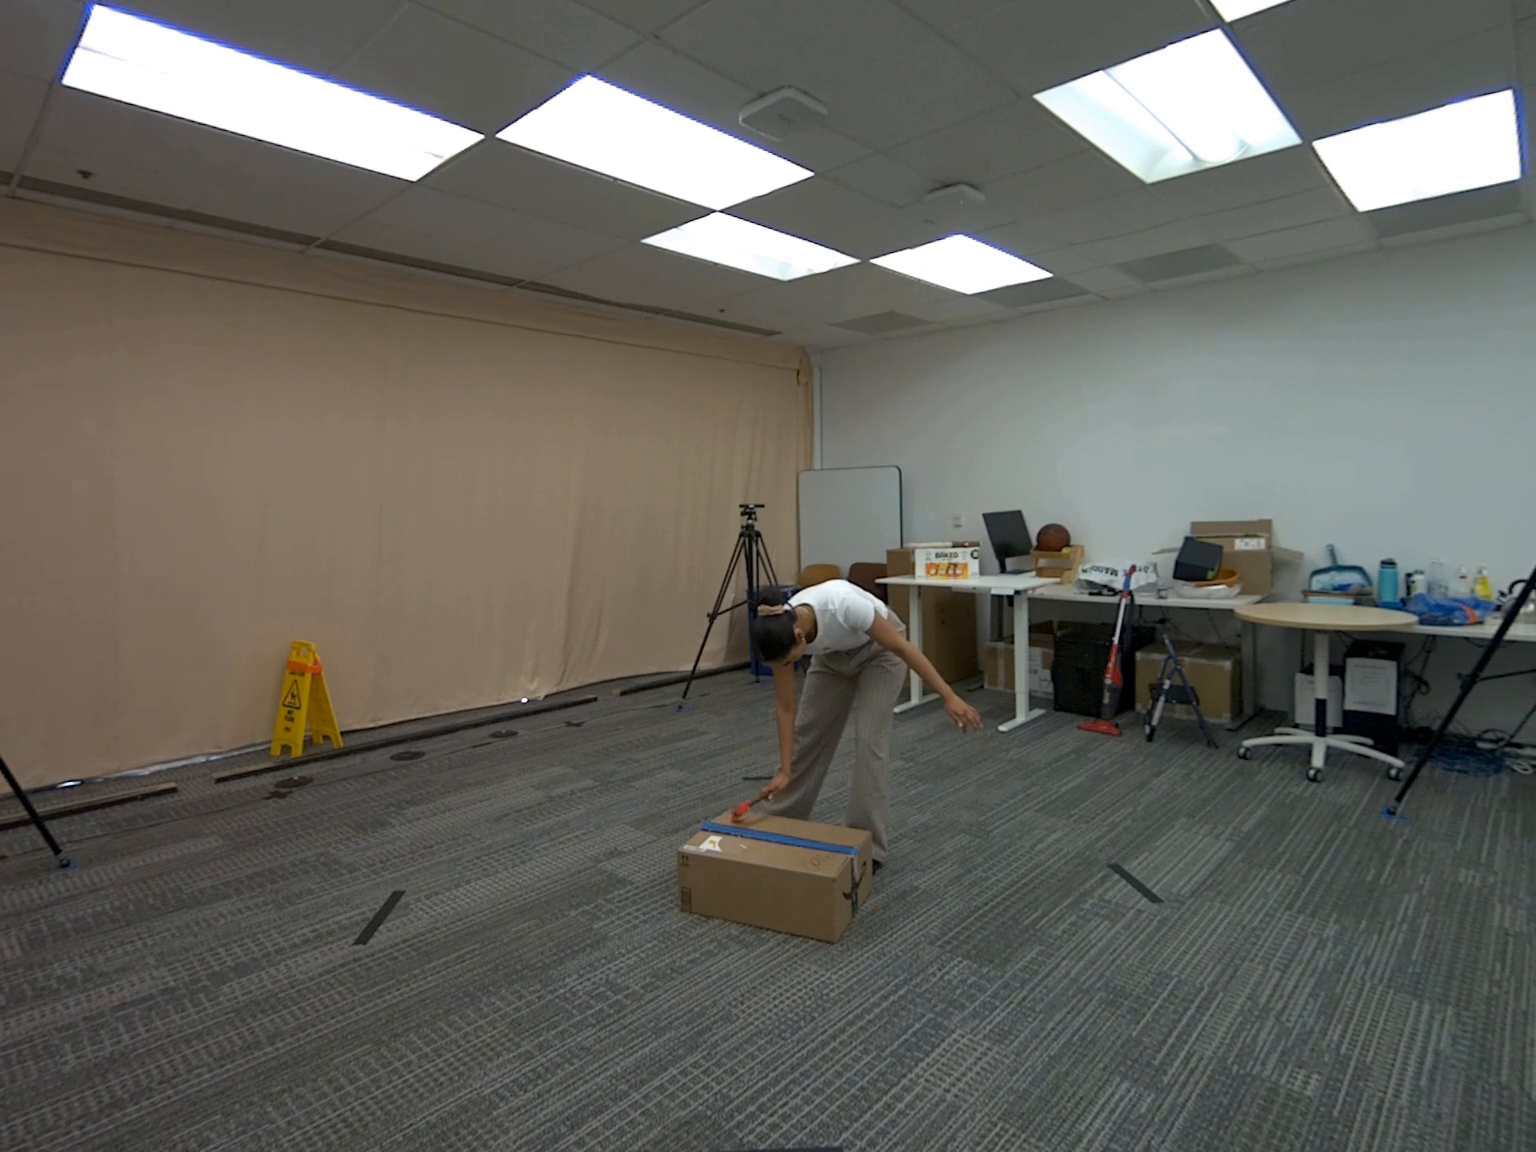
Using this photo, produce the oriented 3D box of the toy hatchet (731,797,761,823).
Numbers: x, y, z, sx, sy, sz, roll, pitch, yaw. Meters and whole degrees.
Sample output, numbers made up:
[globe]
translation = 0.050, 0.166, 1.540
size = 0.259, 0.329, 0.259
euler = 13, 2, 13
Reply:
[toy hatchet]
translation = -0.045, 0.867, 3.175
size = 0.030, 0.131, 0.262
euler = 48, 19, 20
